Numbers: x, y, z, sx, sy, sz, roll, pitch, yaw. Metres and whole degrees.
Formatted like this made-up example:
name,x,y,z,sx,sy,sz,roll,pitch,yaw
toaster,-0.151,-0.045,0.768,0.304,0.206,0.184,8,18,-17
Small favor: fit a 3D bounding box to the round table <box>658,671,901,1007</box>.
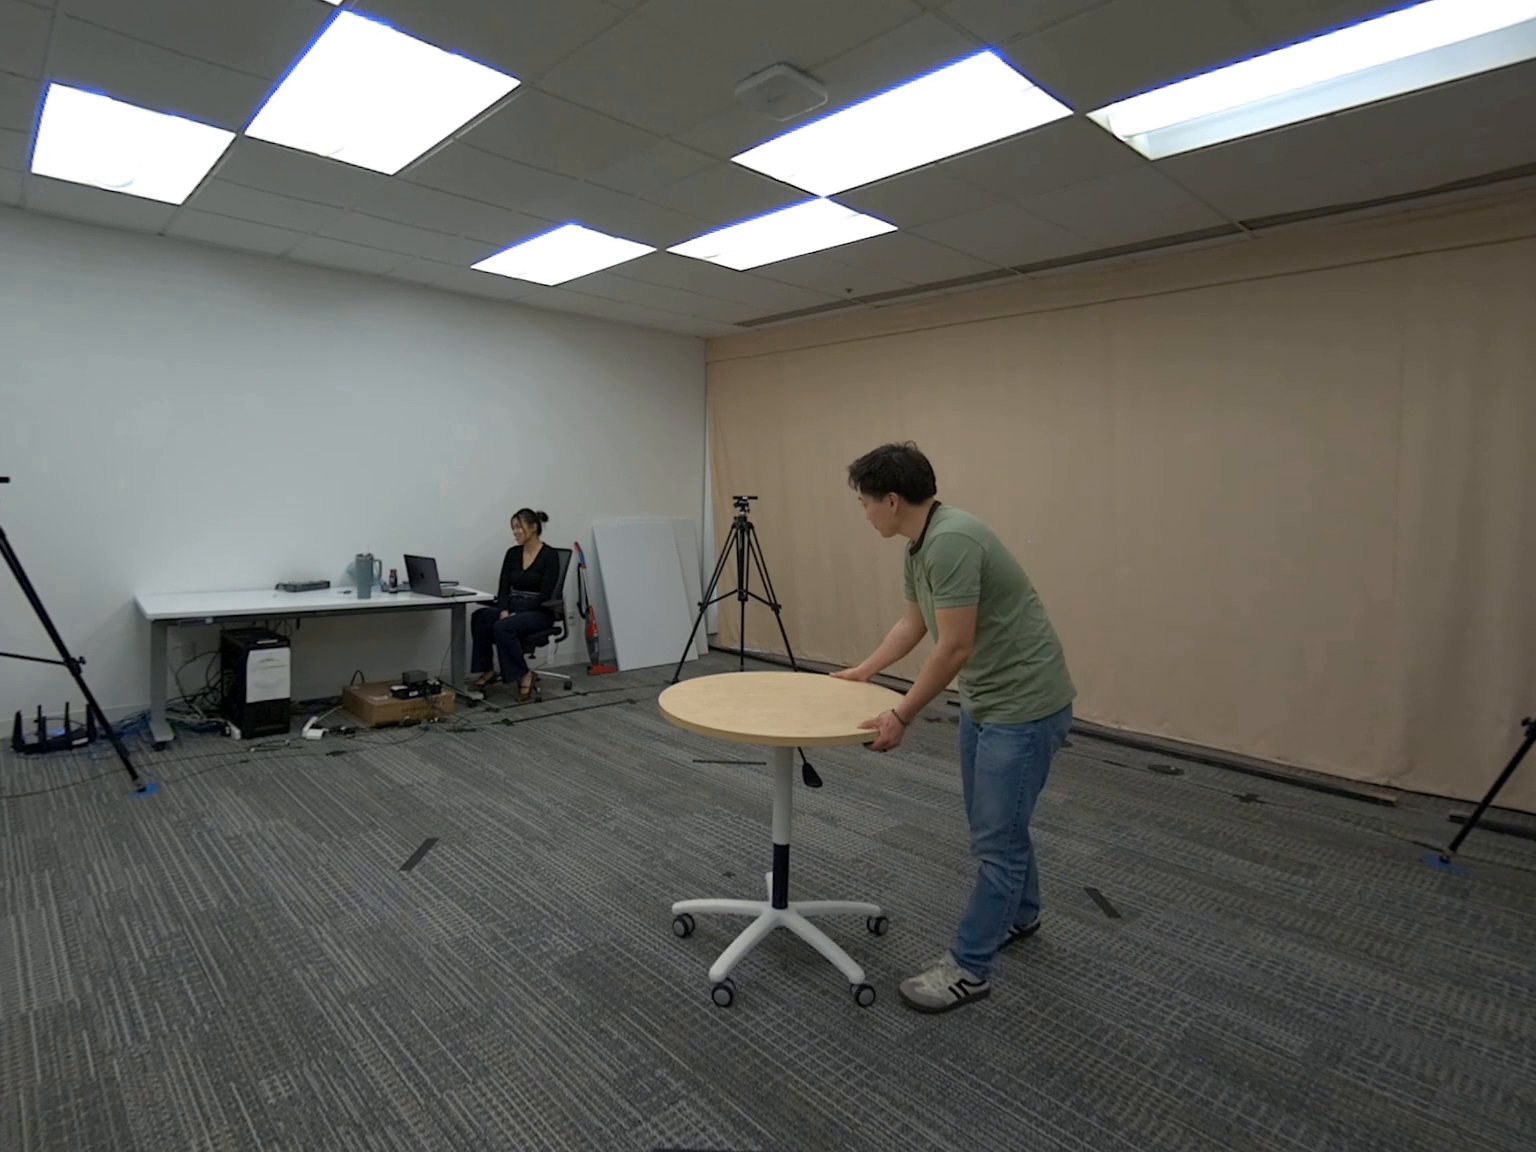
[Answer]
name,x,y,z,sx,sy,sz,roll,pitch,yaw
round table,0.042,0.768,2.575,0.763,0.791,0.767,1,5,-1
